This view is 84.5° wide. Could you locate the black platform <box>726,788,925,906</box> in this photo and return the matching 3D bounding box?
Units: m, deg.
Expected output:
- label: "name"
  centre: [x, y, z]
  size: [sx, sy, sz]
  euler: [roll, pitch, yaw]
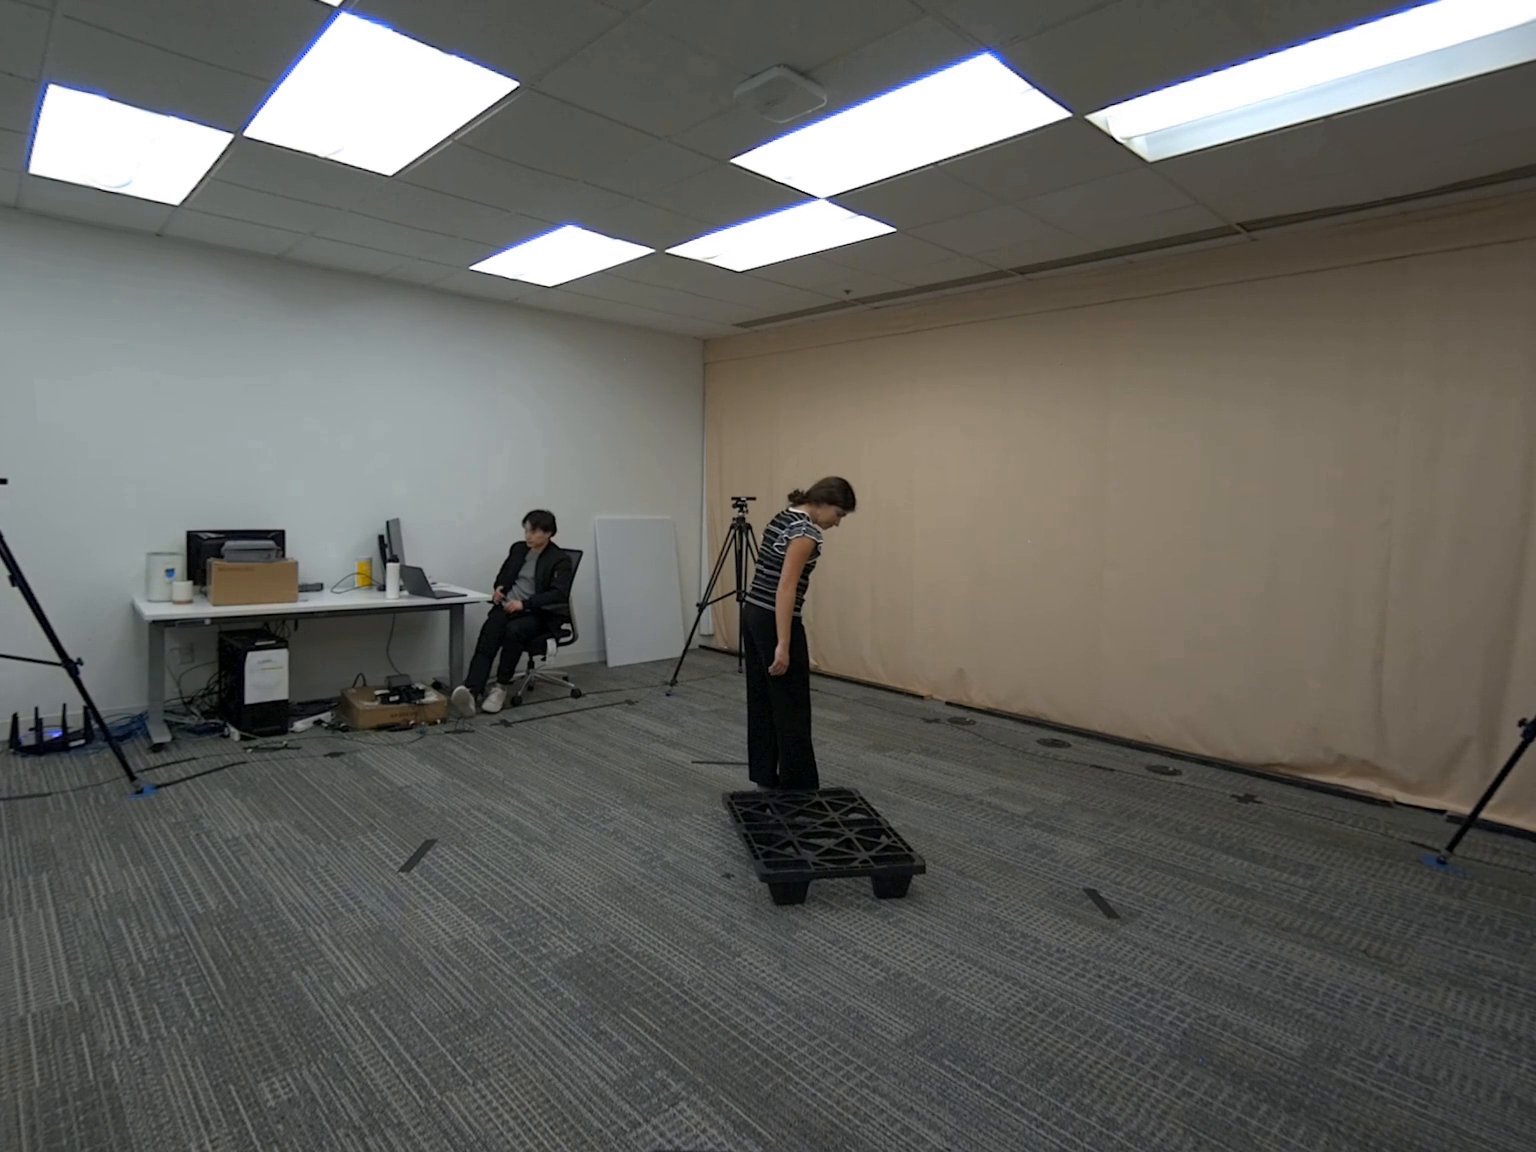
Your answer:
- label: "black platform"
  centre: [0.172, 1.029, 3.278]
  size: [0.599, 0.143, 0.815]
  euler: [1, 5, -12]
